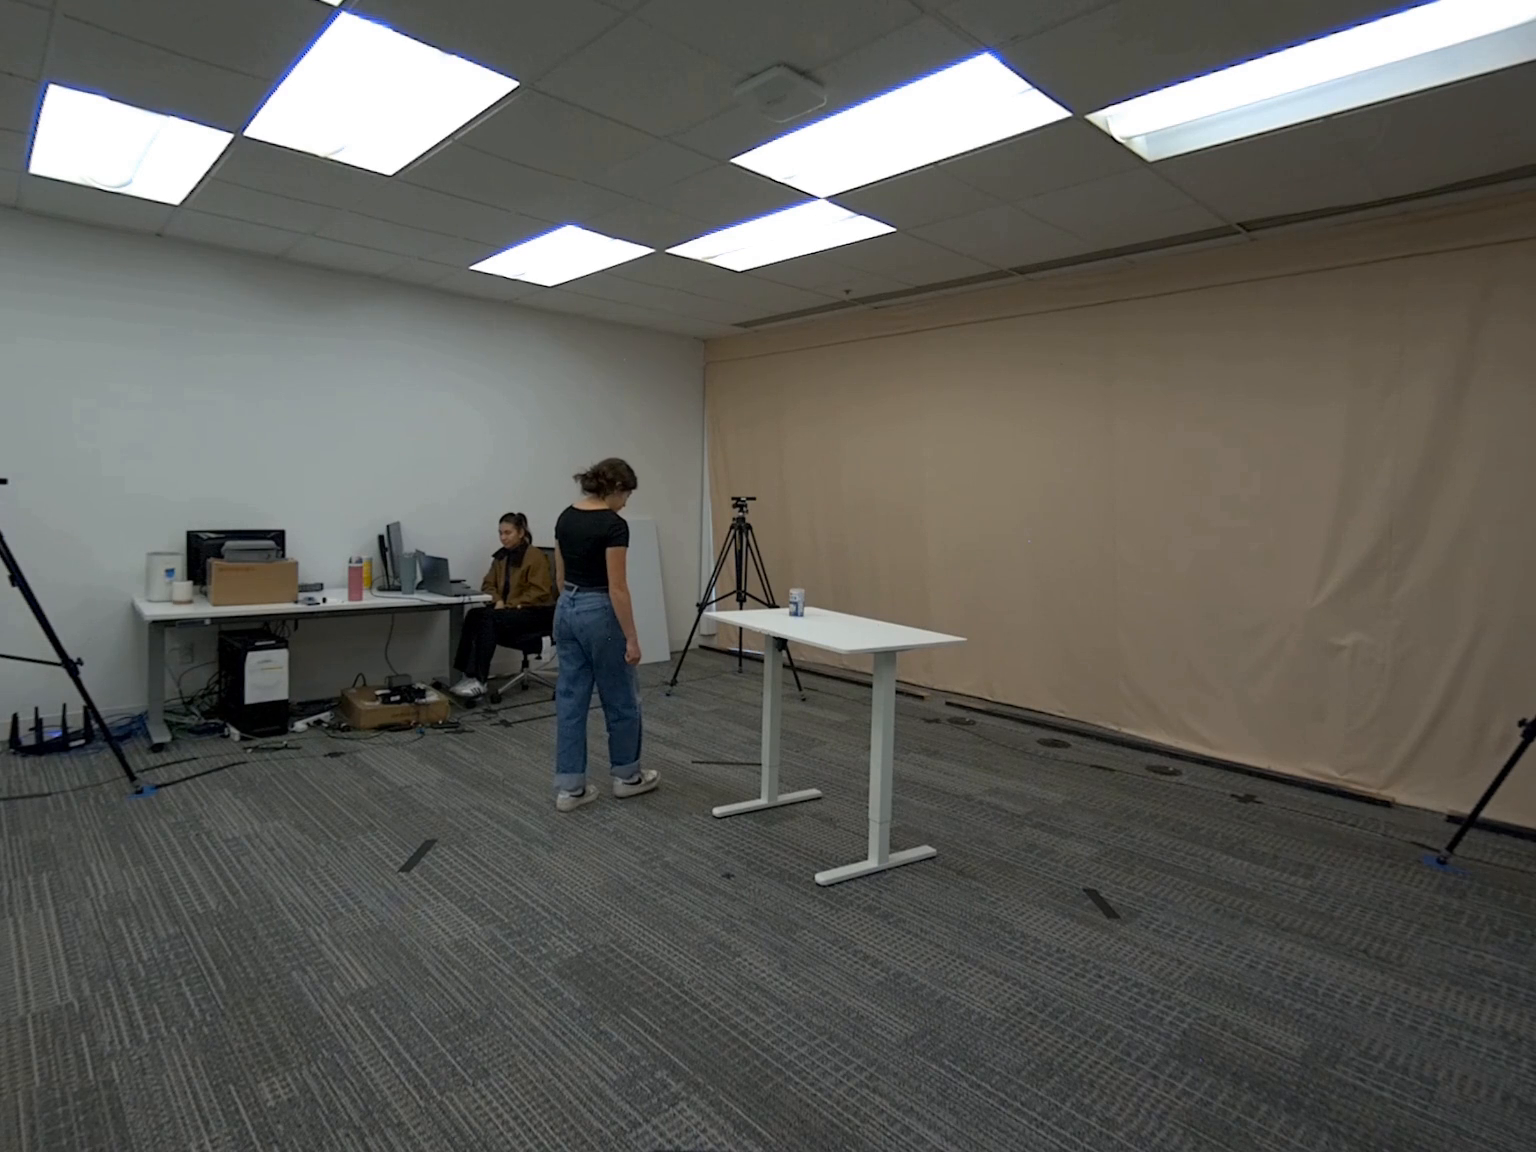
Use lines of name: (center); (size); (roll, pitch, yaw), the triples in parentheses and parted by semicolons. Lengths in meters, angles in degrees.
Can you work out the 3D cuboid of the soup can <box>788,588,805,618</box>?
soup can: (0.112, 0.116, 3.724); (0.067, 0.121, 0.067); (3, 7, -2)
